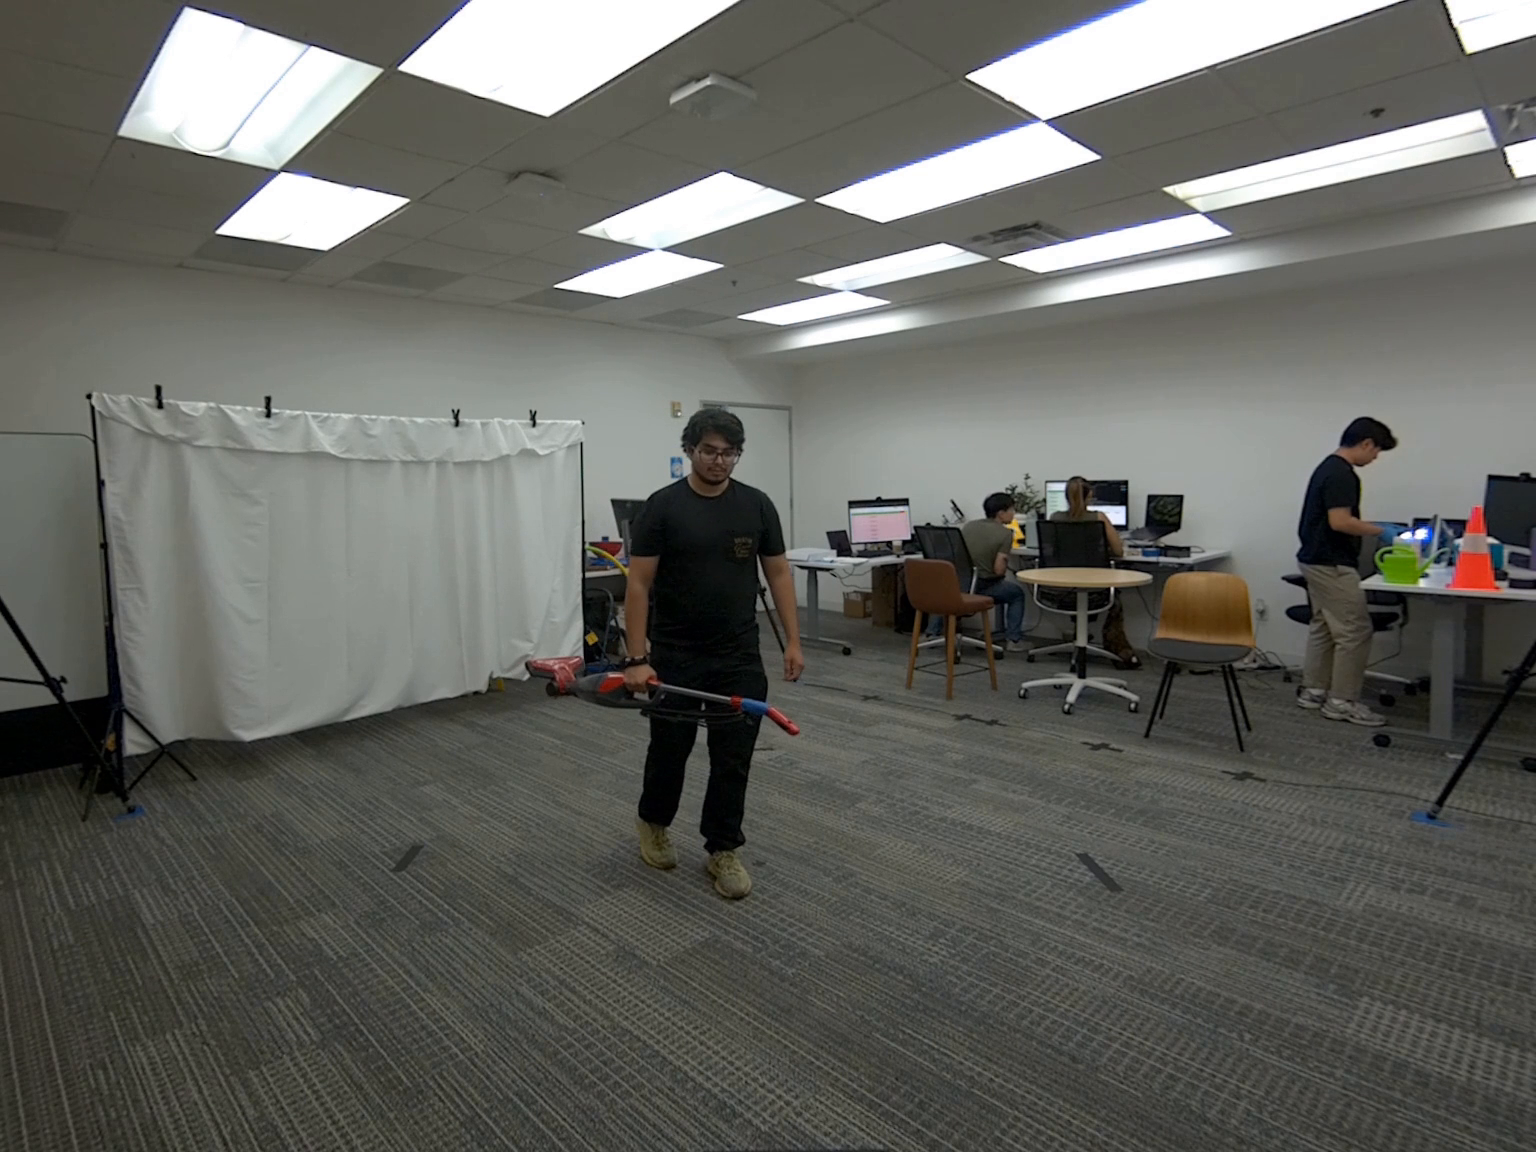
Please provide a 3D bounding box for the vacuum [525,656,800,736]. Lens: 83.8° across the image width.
[{"bbox_3d":[-0.350,0.407,2.750,1.083,0.144,0.245,7,3,40],"label":"vacuum"}]
